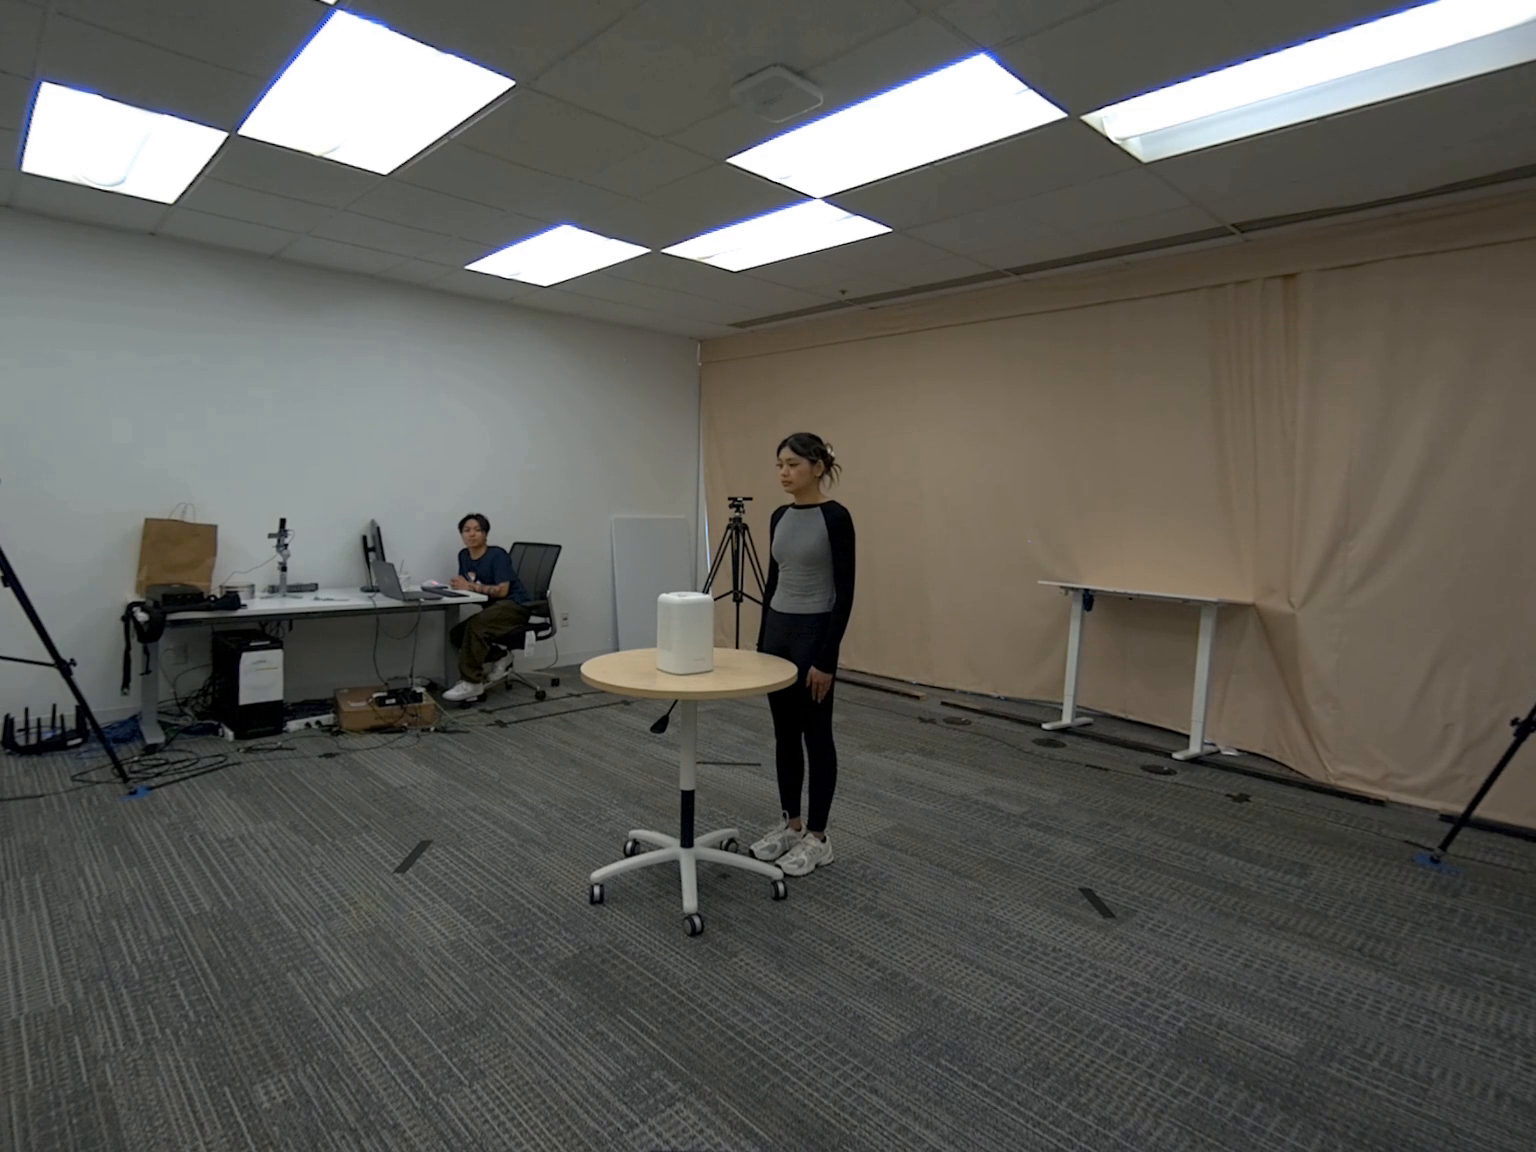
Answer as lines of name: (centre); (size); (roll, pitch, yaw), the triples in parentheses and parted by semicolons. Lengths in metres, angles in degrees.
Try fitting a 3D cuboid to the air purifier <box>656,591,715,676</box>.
air purifier: (-0.292, 0.195, 2.926); (0.167, 0.264, 0.176); (-3, 5, -39)
